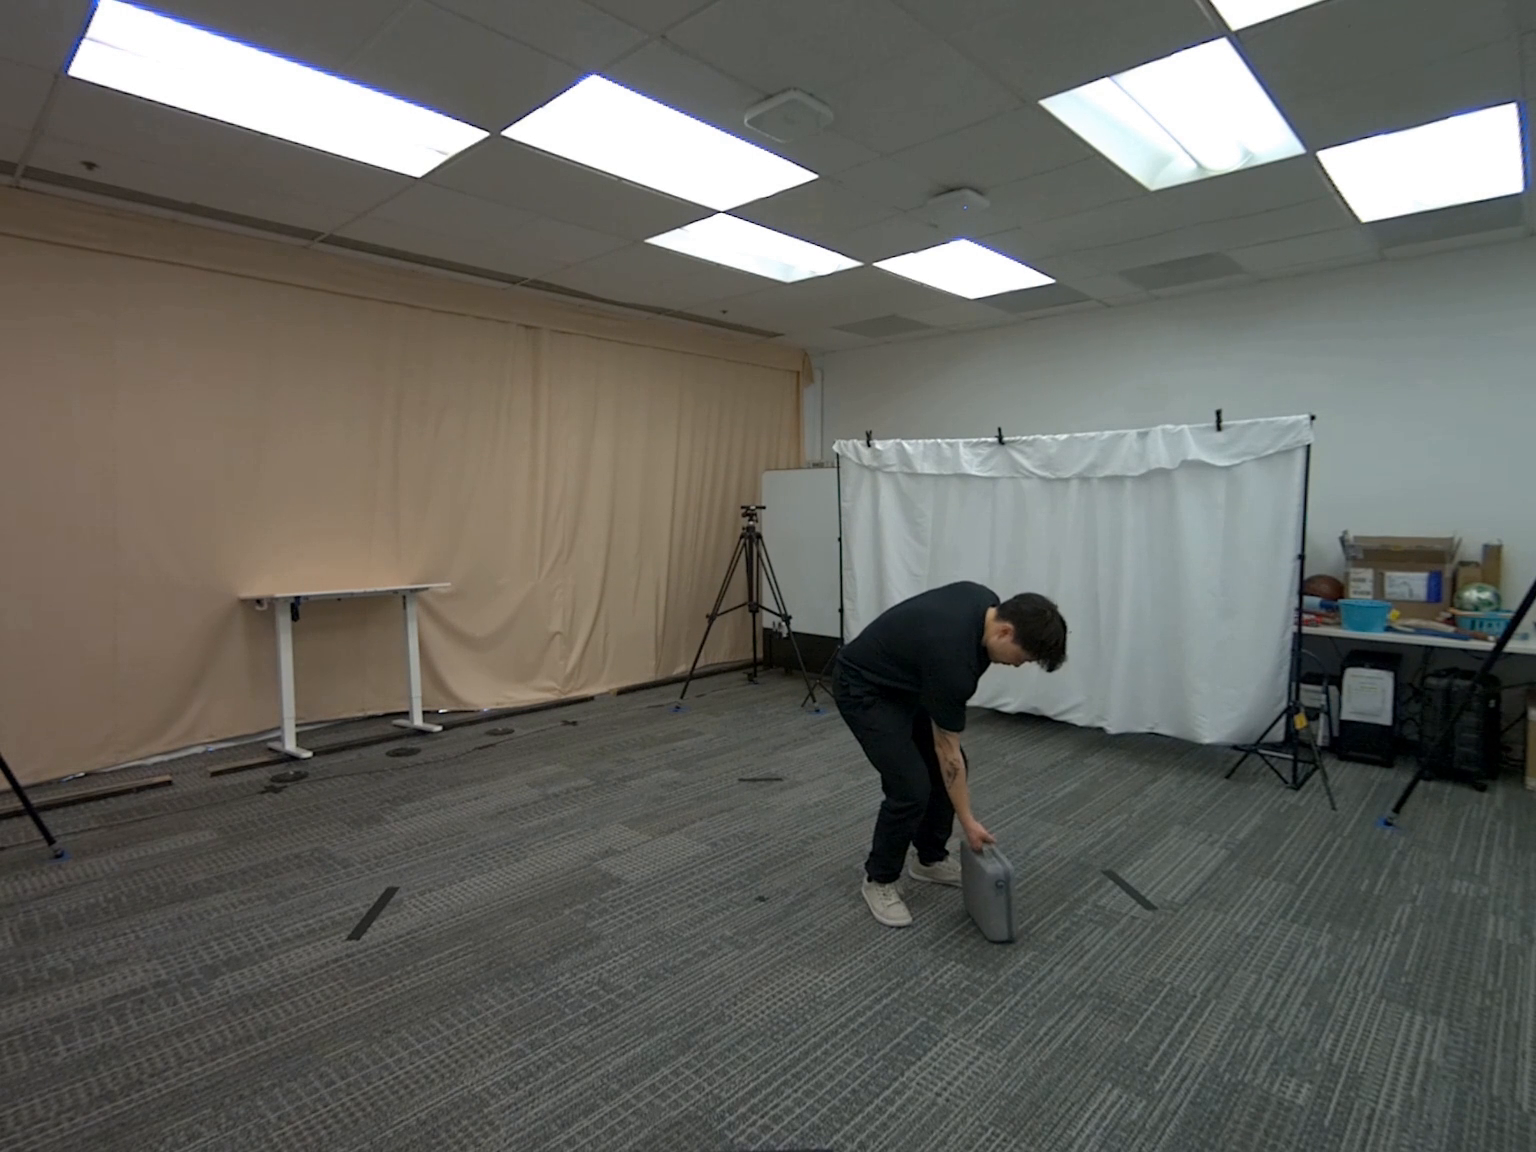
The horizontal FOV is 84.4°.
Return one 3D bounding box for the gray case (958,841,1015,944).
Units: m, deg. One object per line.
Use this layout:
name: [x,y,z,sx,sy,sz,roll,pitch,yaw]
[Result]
gray case: [0.721,1.015,2.769,0.104,0.260,0.259,-4,5,-5]
